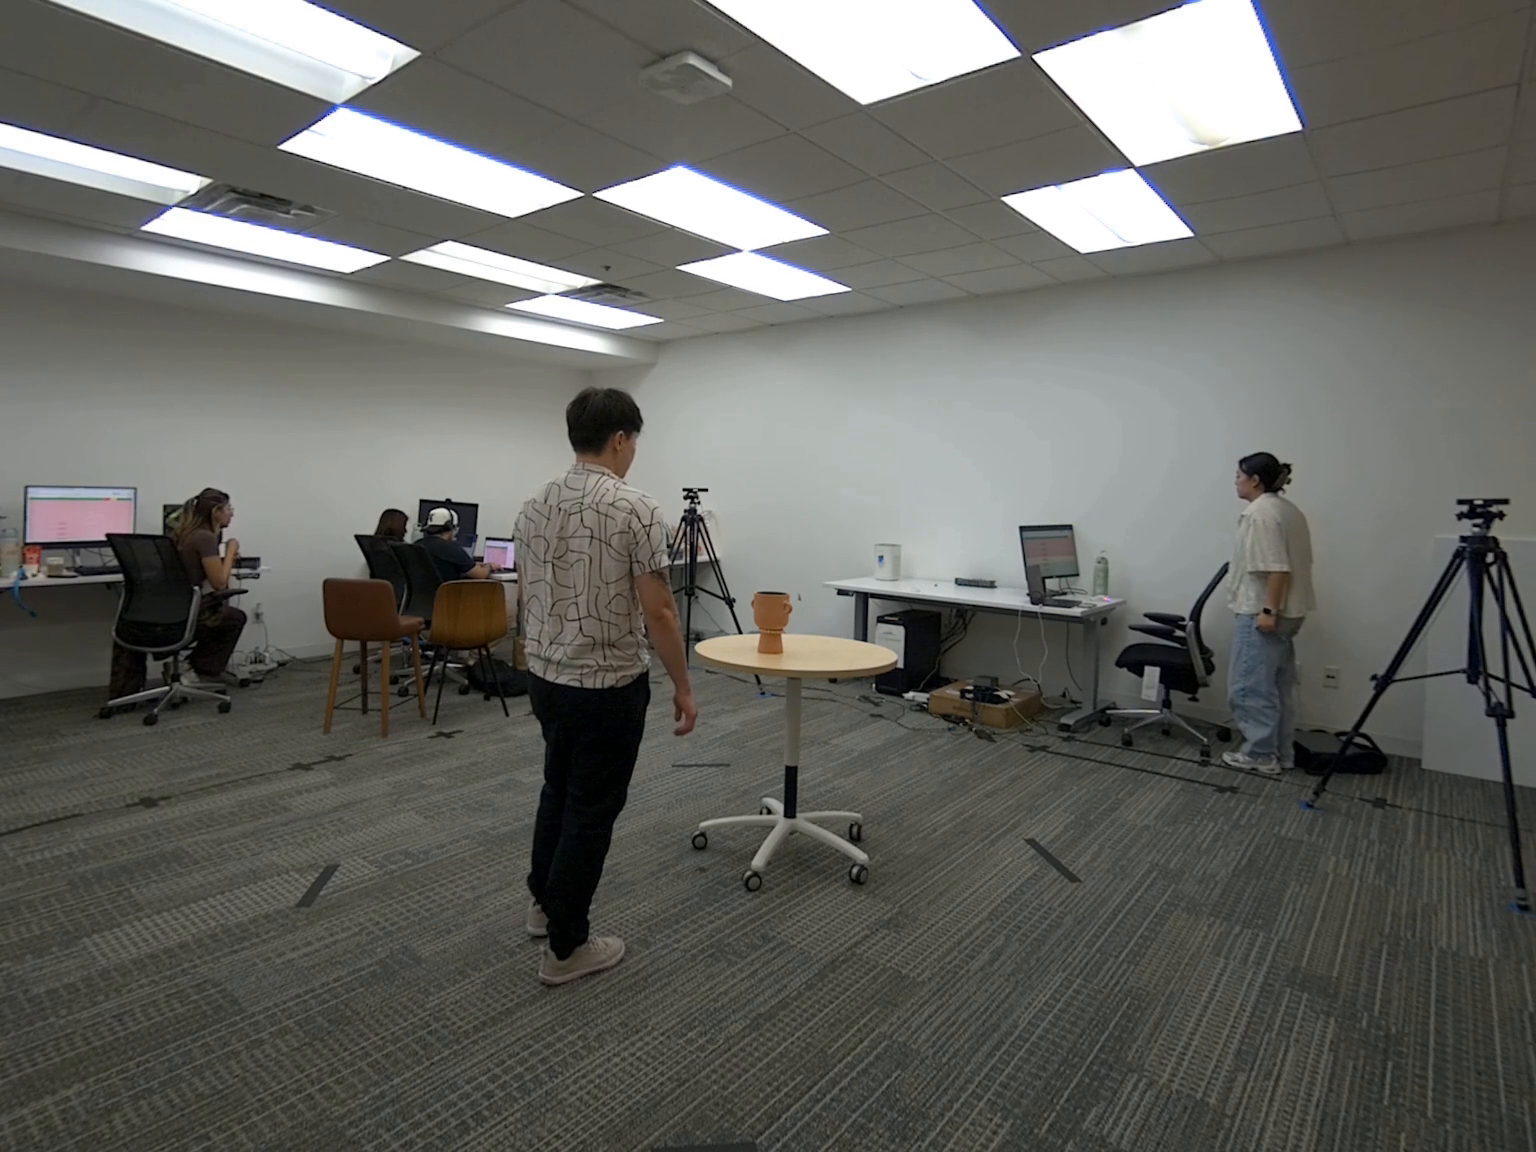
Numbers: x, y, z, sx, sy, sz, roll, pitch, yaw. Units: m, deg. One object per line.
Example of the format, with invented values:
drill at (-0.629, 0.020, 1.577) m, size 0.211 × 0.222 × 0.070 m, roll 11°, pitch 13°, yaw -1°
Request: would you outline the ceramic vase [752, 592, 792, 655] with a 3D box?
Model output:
ceramic vase at (0.002, 0.172, 3.186) m, size 0.133 × 0.219 × 0.160 m, roll 0°, pitch 3°, yaw -8°
